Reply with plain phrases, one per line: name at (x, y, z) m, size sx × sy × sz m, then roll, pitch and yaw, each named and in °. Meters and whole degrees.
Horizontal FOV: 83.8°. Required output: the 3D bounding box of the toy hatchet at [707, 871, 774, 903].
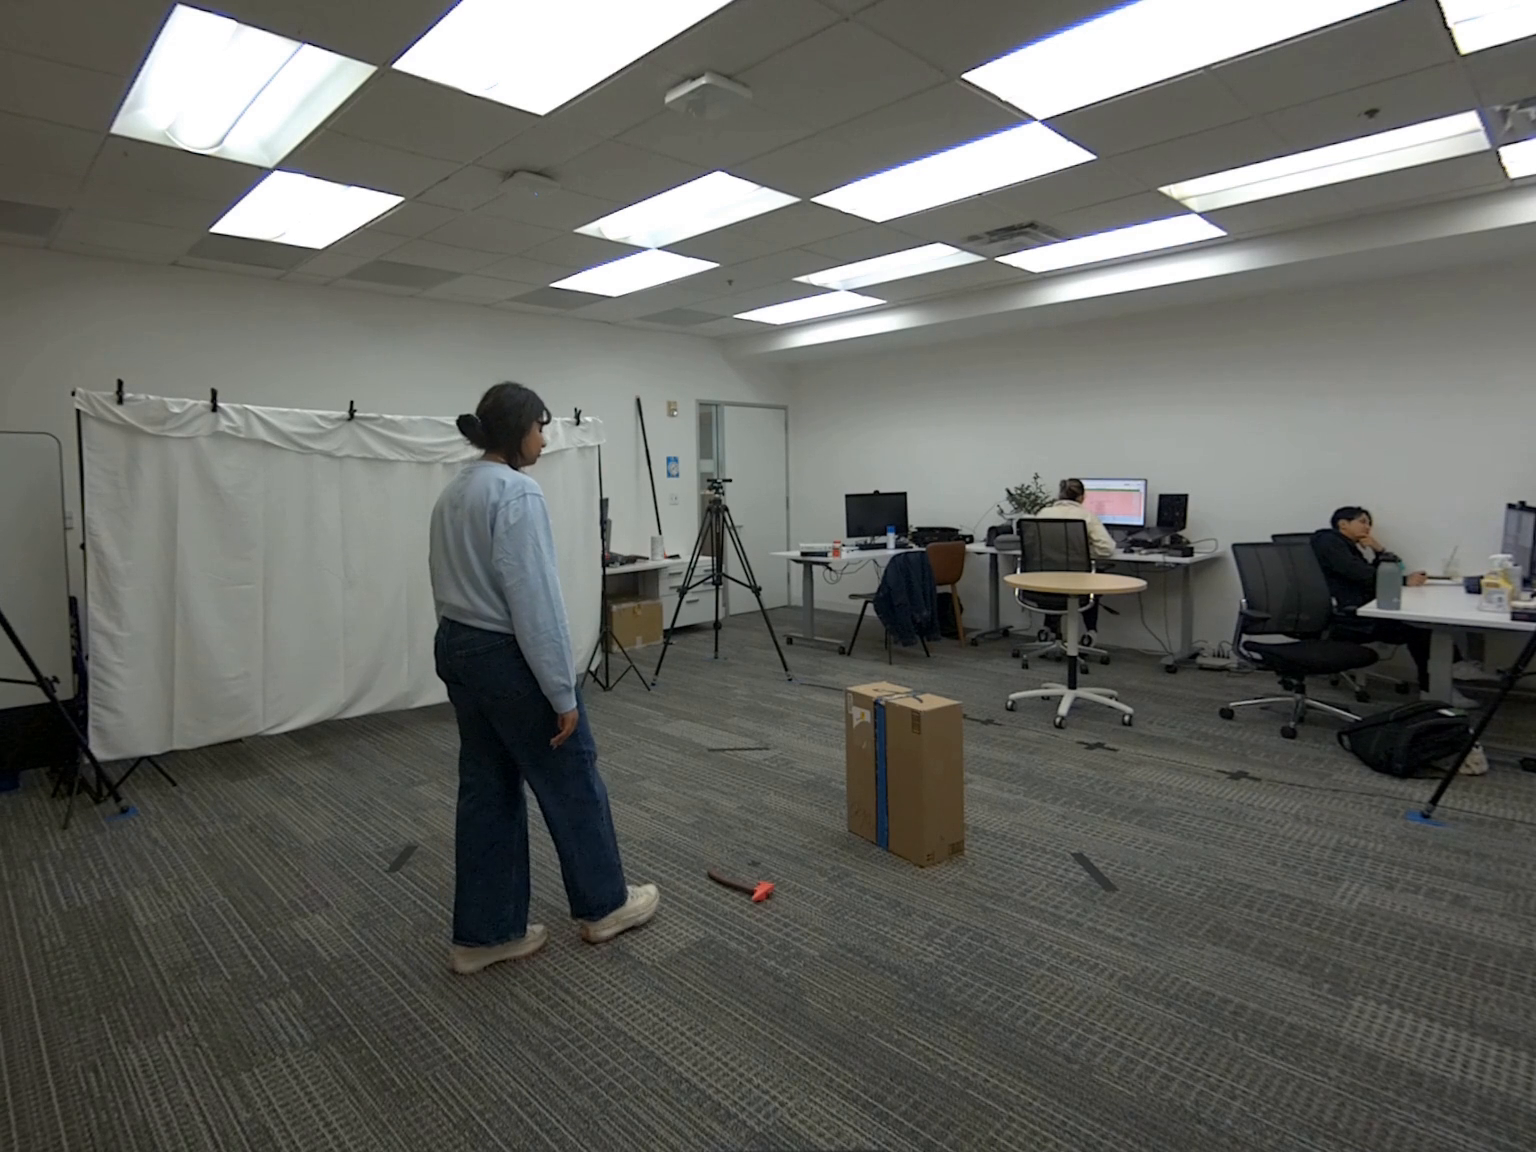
toy hatchet at (-0.080, 1.050, 2.943) m, size 0.128 × 0.029 × 0.278 m, roll -6°, pitch 7°, yaw -38°
